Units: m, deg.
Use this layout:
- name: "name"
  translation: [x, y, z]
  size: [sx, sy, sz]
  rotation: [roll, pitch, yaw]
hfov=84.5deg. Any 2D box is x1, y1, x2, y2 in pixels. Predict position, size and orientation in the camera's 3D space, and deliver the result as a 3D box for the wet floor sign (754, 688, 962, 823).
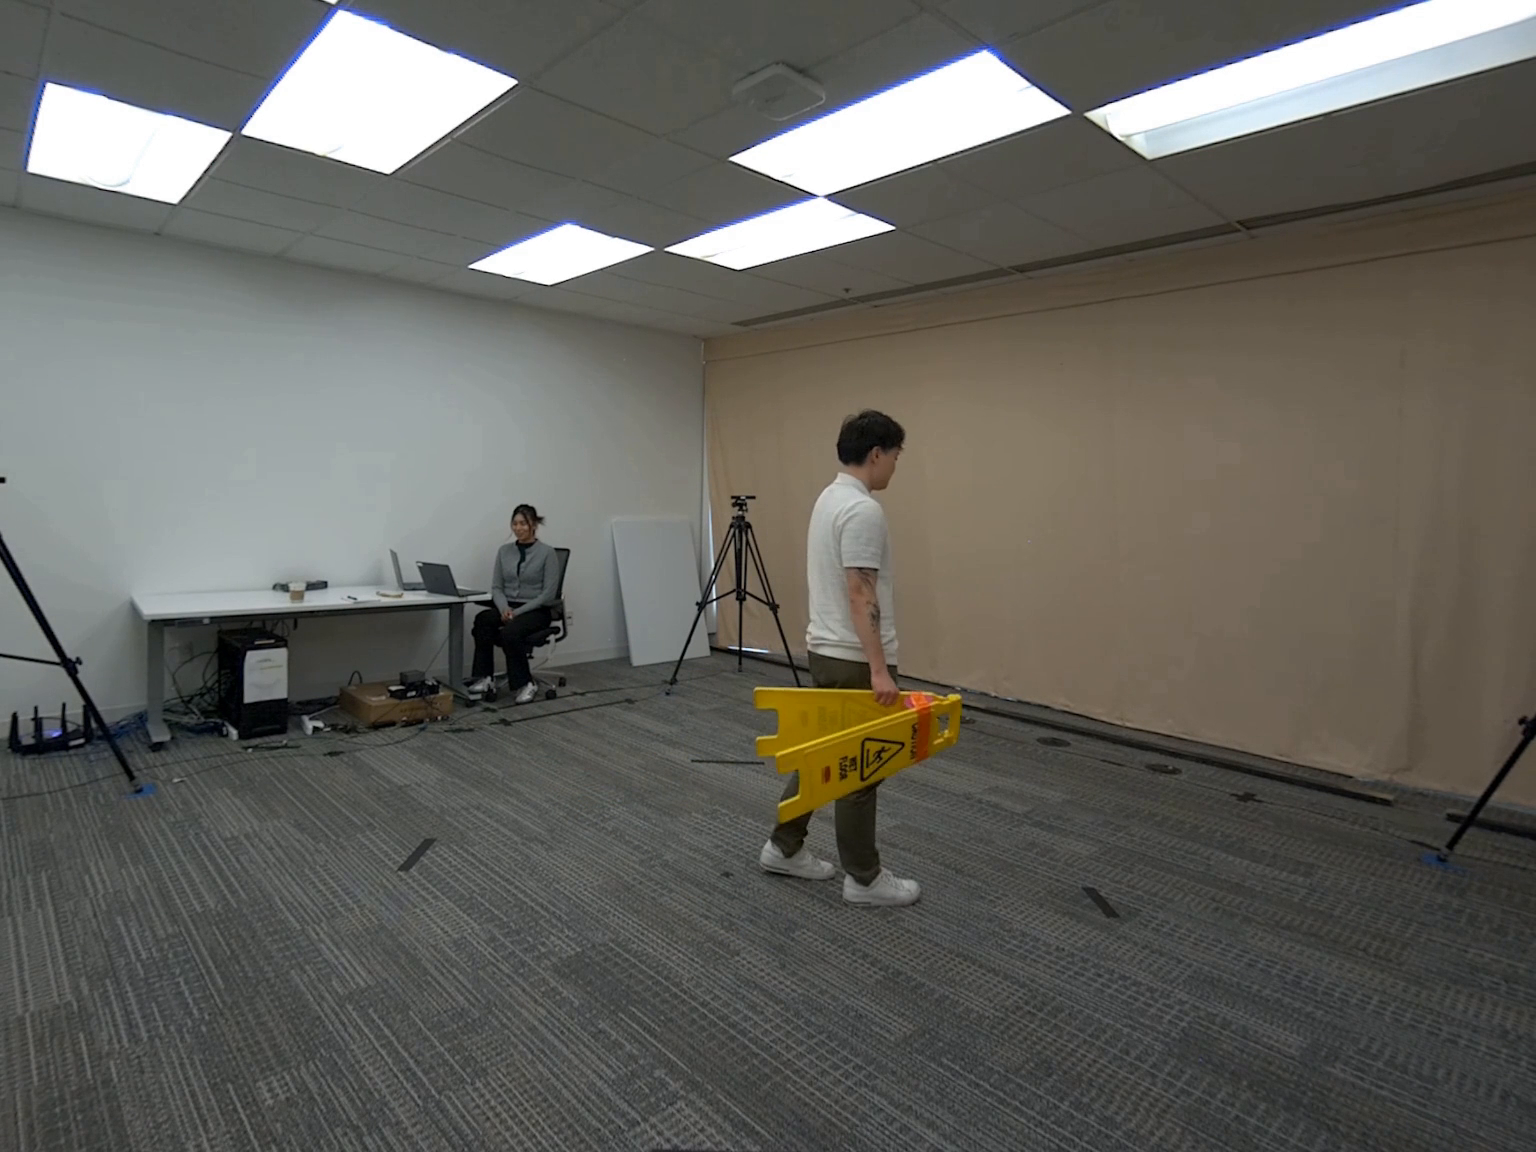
- name: "wet floor sign"
  translation: [0.298, 0.505, 2.670]
  size: [0.641, 0.276, 0.298]
  rotation: [-9, 32, -10]
